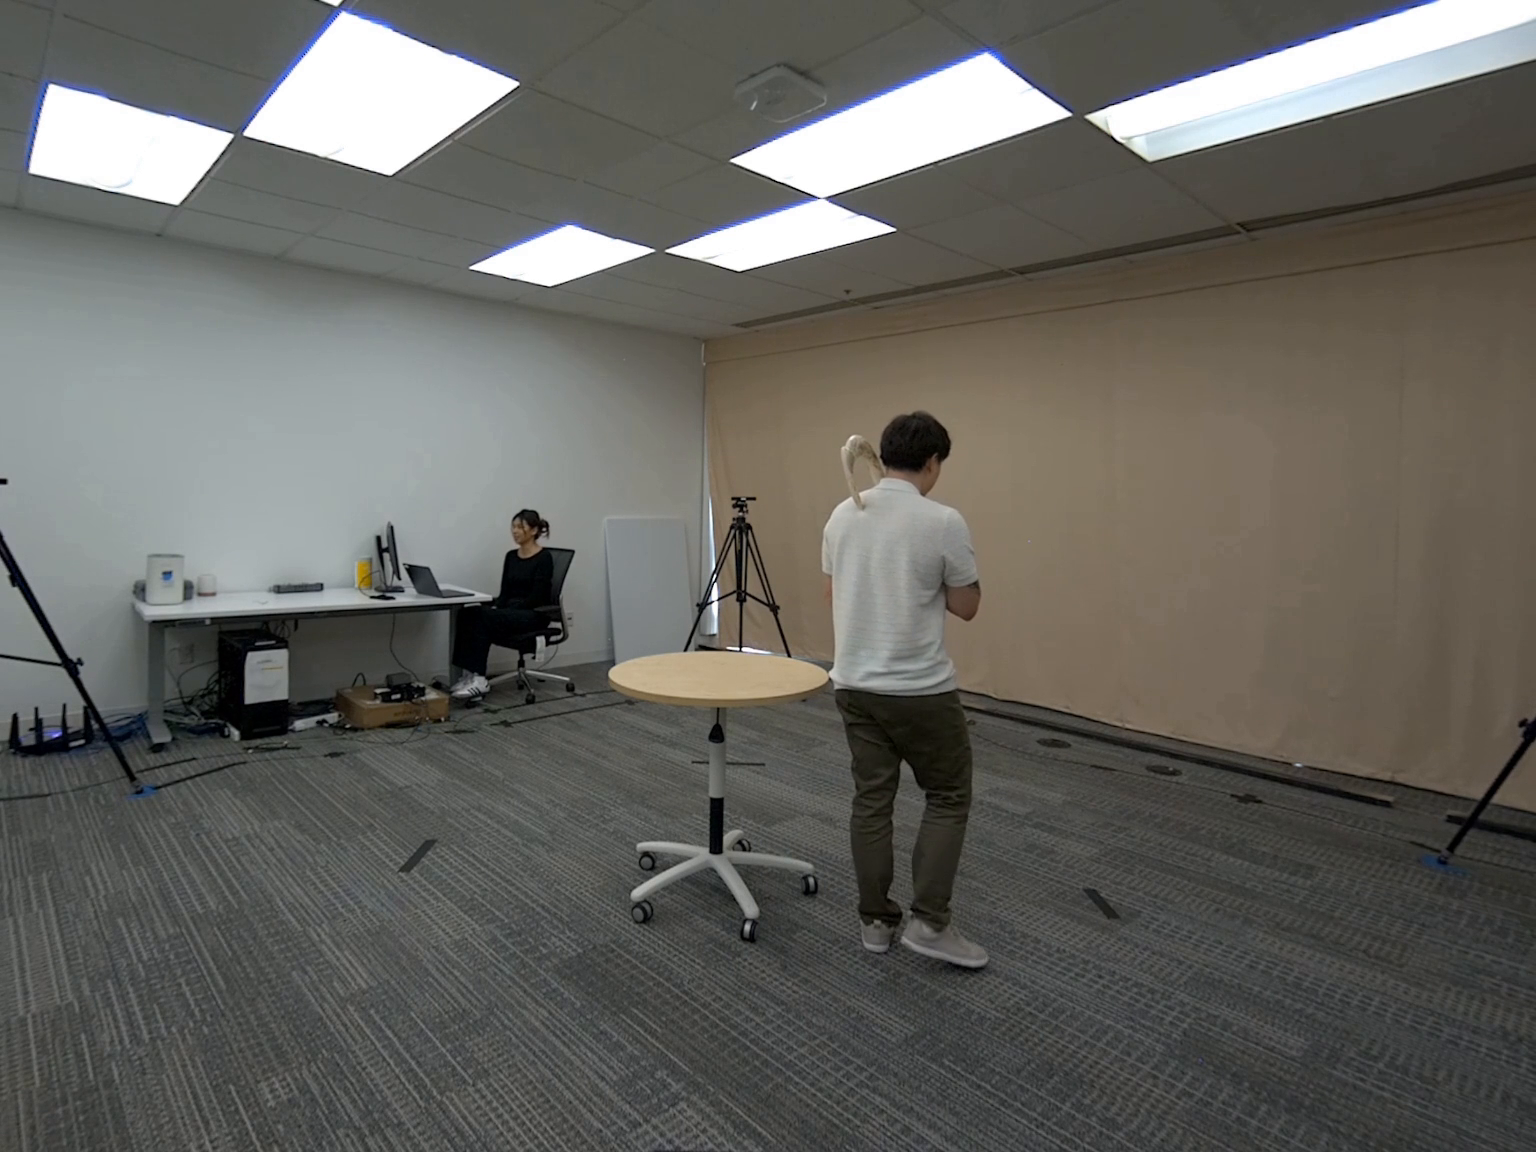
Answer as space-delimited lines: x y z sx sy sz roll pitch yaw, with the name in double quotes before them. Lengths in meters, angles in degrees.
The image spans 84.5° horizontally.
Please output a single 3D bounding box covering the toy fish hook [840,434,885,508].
"toy fish hook" 0.363 -0.206 2.677 0.049 0.497 0.224 -12 25 42
